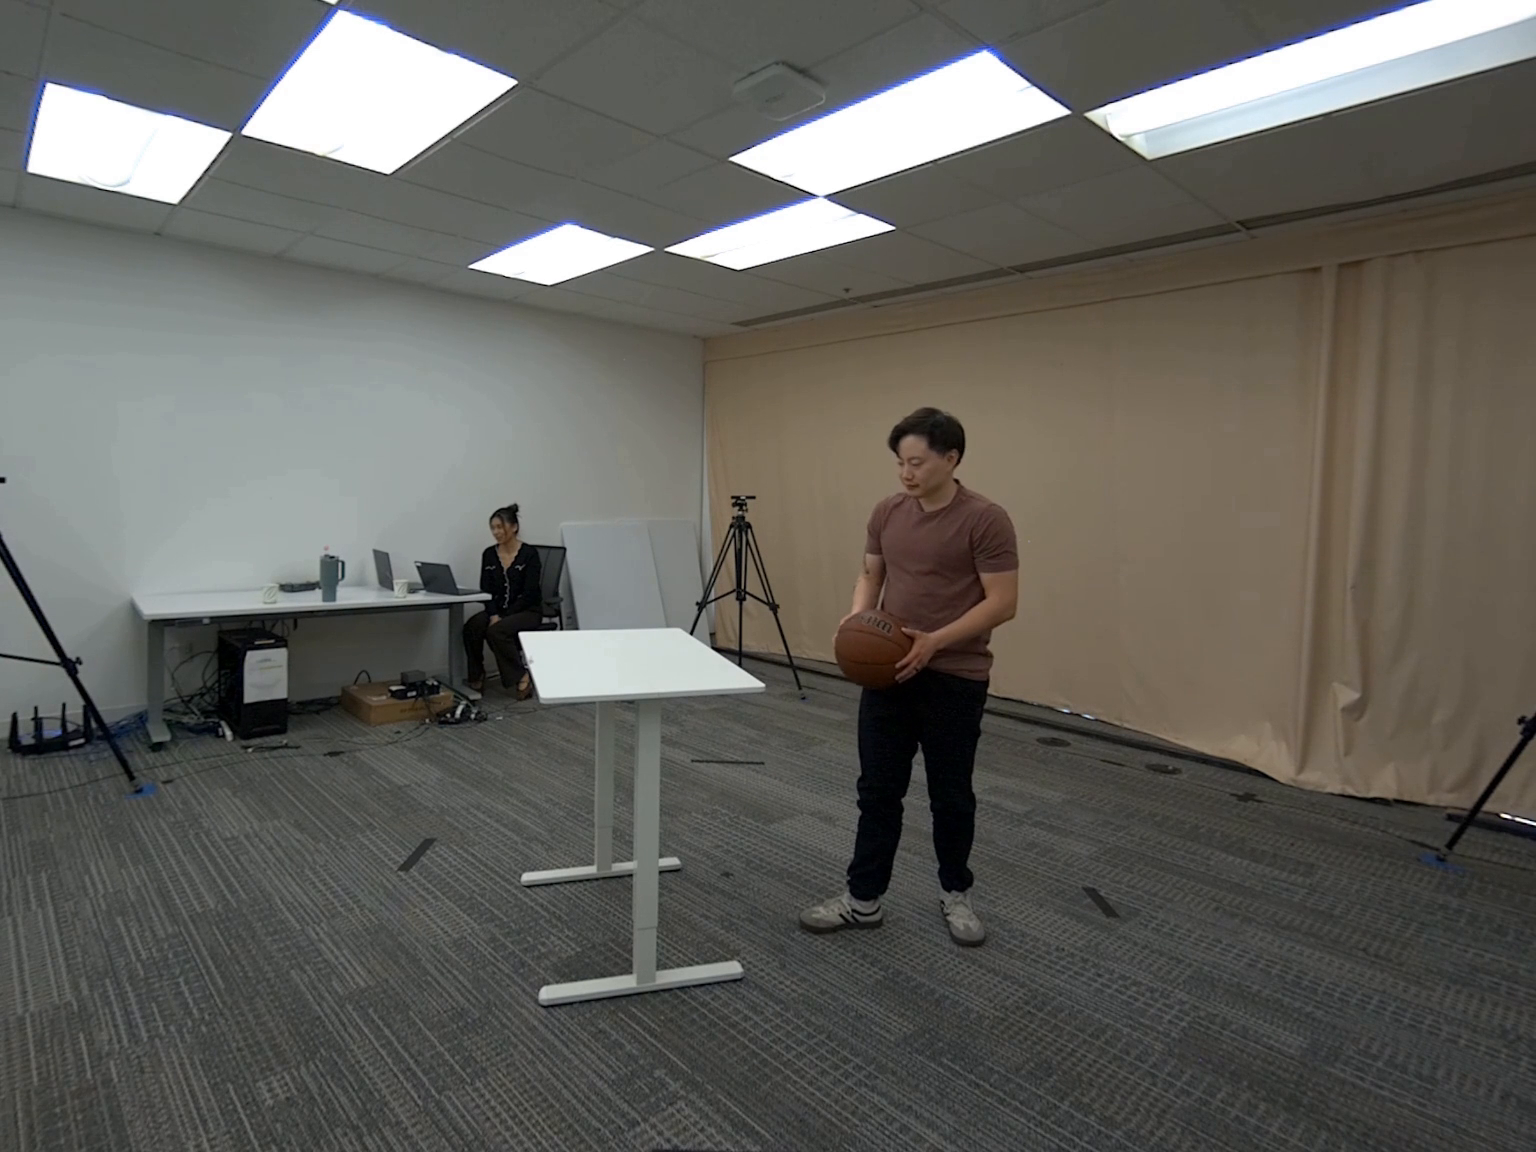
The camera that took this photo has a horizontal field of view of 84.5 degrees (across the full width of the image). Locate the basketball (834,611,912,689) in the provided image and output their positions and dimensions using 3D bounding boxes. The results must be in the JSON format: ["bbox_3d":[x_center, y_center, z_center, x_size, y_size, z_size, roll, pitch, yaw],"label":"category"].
[{"bbox_3d":[0.317,0.215,2.523,0.236,0.235,0.237,1,4,-1],"label":"basketball"}]
